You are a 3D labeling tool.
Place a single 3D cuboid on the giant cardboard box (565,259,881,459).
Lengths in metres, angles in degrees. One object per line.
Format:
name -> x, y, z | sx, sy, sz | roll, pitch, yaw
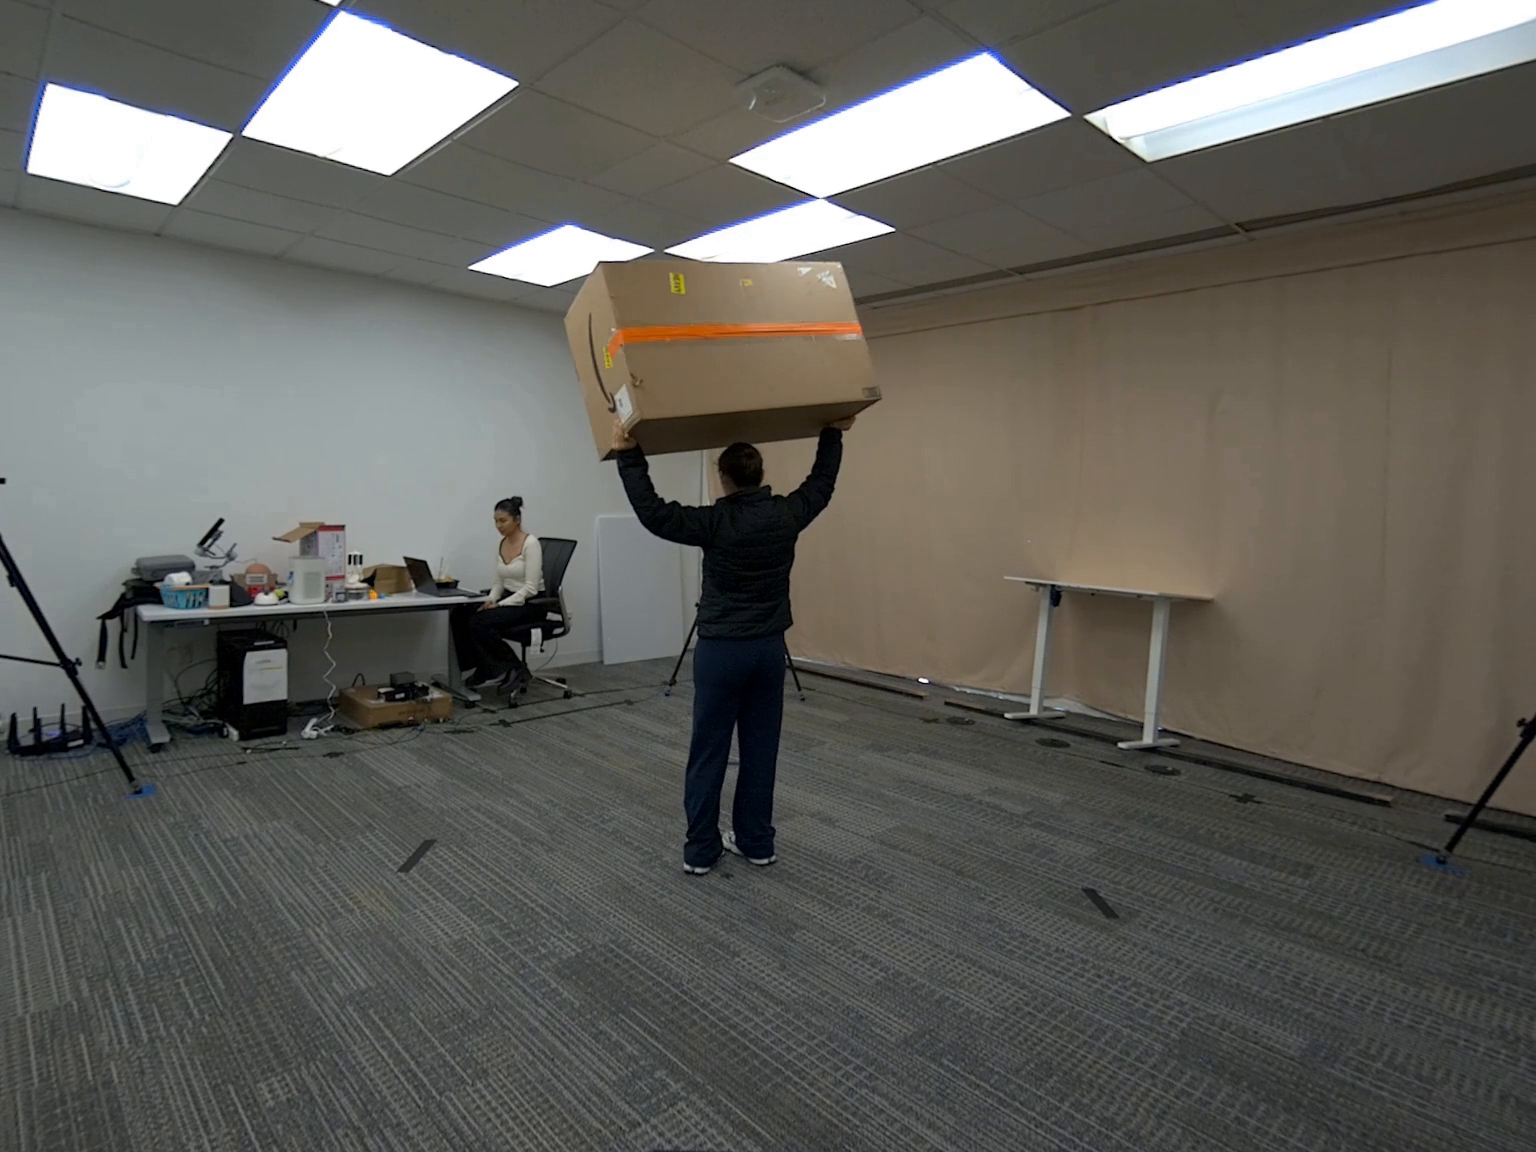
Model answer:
giant cardboard box -> -0.172, -0.816, 3.173 | 1.010, 0.588, 0.451 | -12, -7, -31
